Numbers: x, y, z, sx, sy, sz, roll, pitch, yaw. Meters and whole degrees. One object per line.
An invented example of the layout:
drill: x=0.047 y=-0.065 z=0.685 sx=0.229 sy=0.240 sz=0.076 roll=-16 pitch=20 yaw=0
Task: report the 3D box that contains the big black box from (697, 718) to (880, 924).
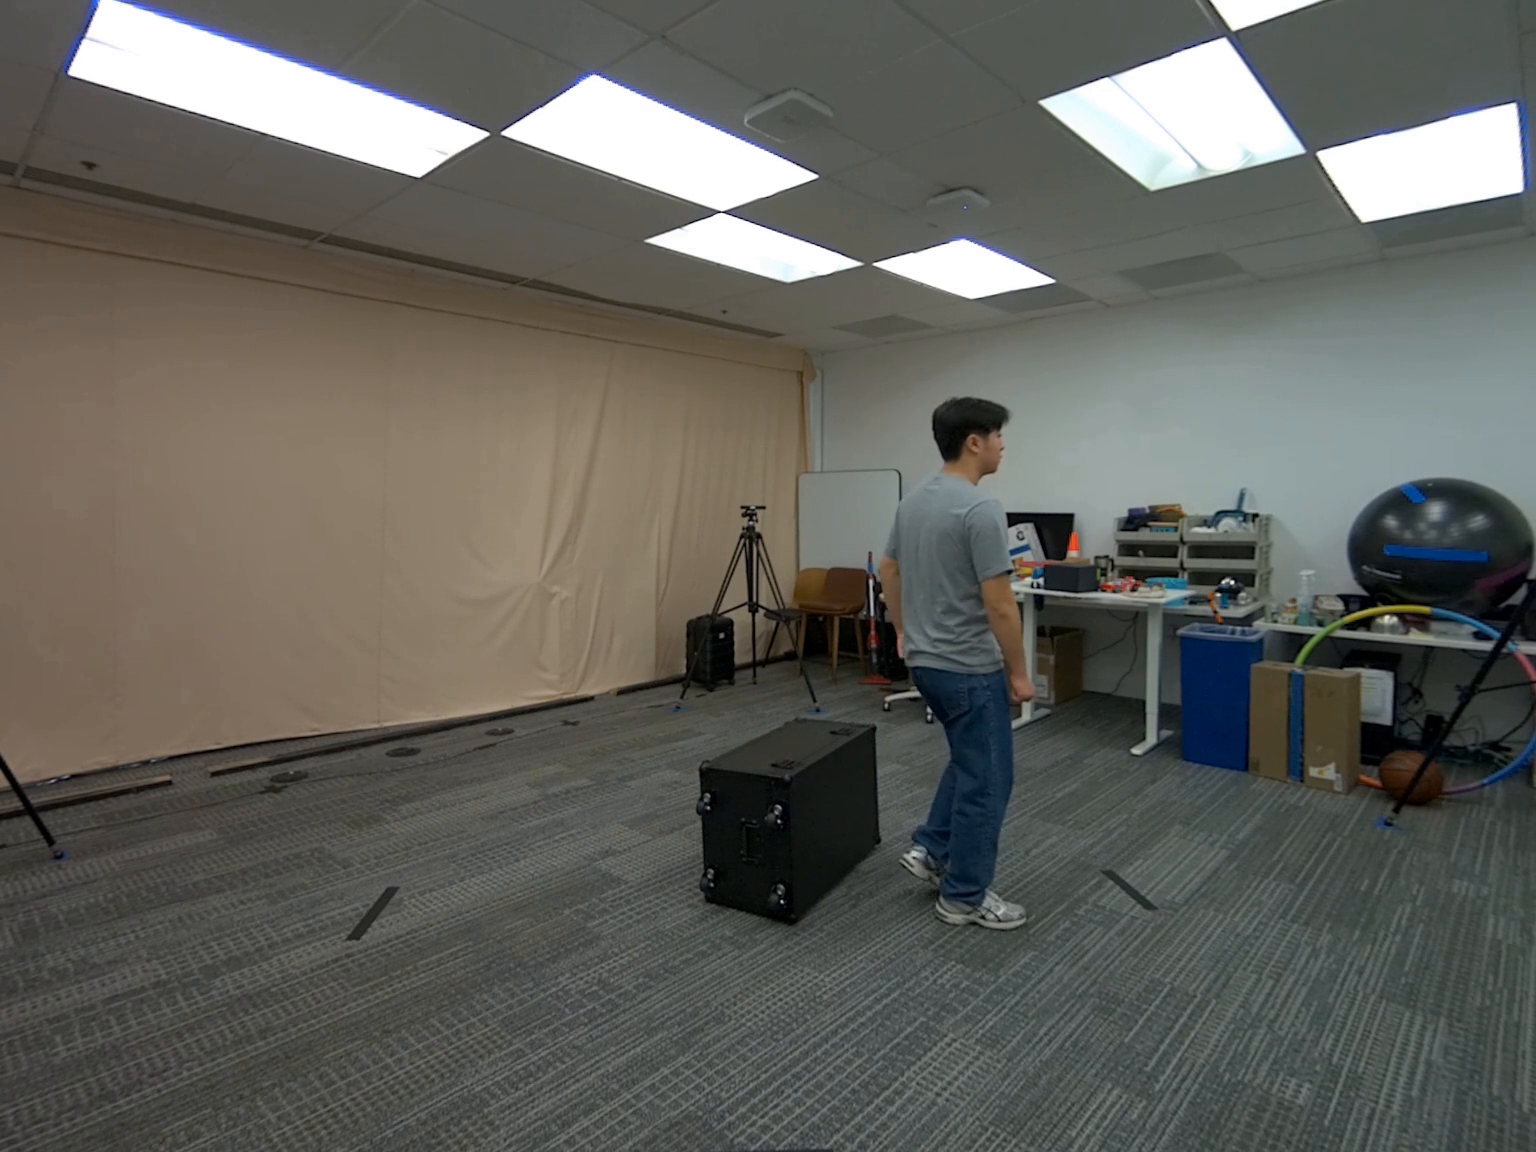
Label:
big black box: x=0.082 y=0.870 z=3.170 sx=0.407 sy=0.520 sz=0.839 roll=-1 pitch=3 yaw=29
